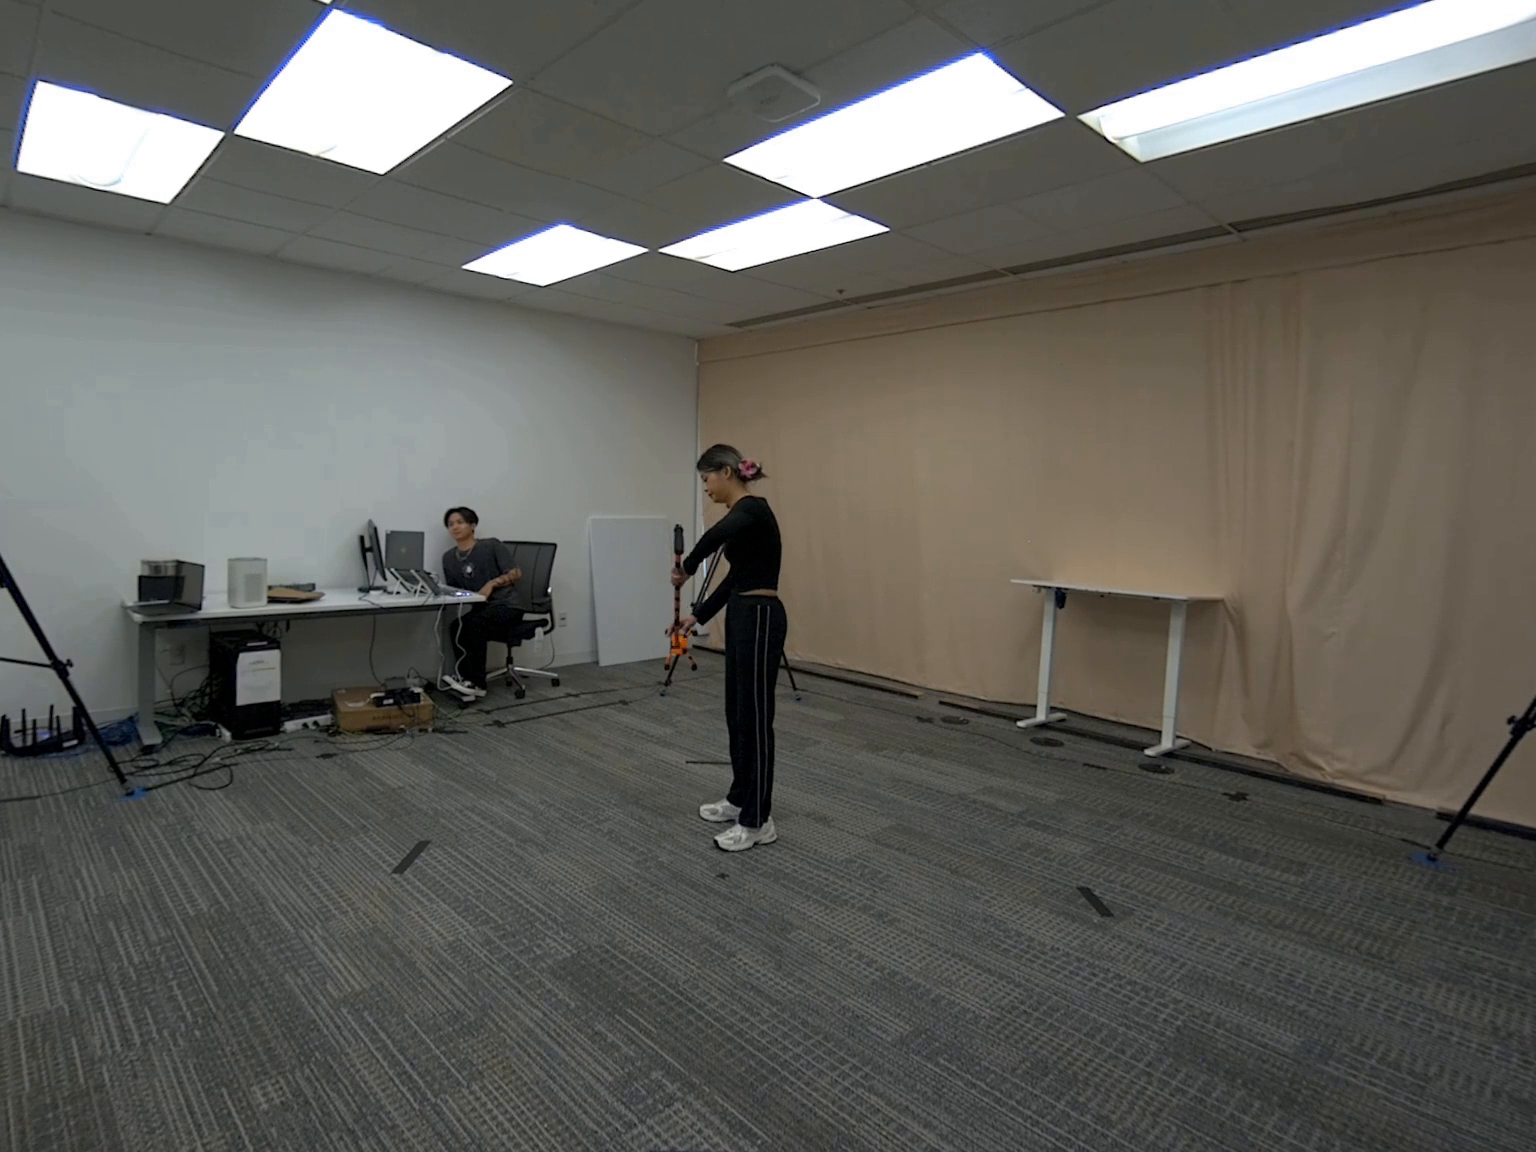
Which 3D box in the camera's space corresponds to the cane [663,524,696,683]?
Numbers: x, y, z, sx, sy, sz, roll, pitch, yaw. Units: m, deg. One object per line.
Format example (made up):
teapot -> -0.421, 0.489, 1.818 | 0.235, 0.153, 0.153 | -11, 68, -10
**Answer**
cane -> -0.365, 0.095, 3.451 | 0.151, 0.211, 0.891 | 2, -35, -4
